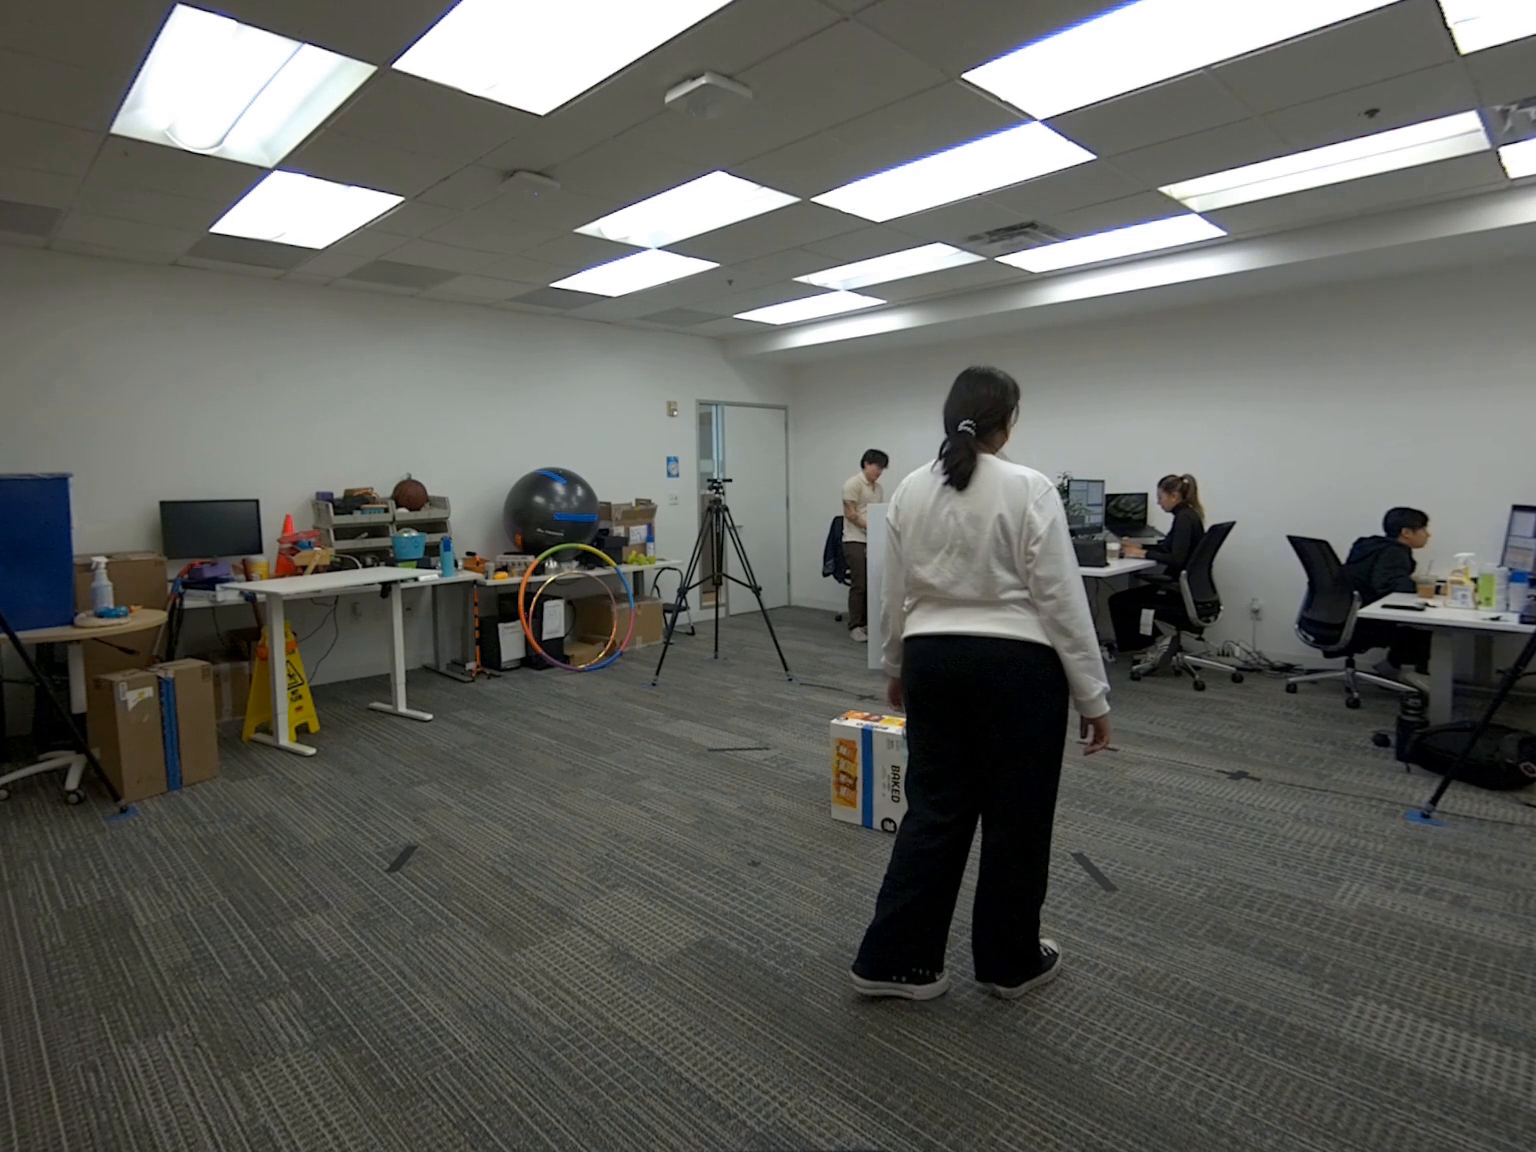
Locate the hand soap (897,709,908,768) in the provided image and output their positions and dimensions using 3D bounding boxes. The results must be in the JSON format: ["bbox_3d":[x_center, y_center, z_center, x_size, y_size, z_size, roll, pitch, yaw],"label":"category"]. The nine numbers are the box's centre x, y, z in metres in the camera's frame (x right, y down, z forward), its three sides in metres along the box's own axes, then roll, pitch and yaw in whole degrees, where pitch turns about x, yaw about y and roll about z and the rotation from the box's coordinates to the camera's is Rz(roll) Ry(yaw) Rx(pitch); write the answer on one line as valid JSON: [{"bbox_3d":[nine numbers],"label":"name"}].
[{"bbox_3d":[0.426,0.479,2.553,0.043,0.167,0.086,-1,6,-16],"label":"hand soap"}]
